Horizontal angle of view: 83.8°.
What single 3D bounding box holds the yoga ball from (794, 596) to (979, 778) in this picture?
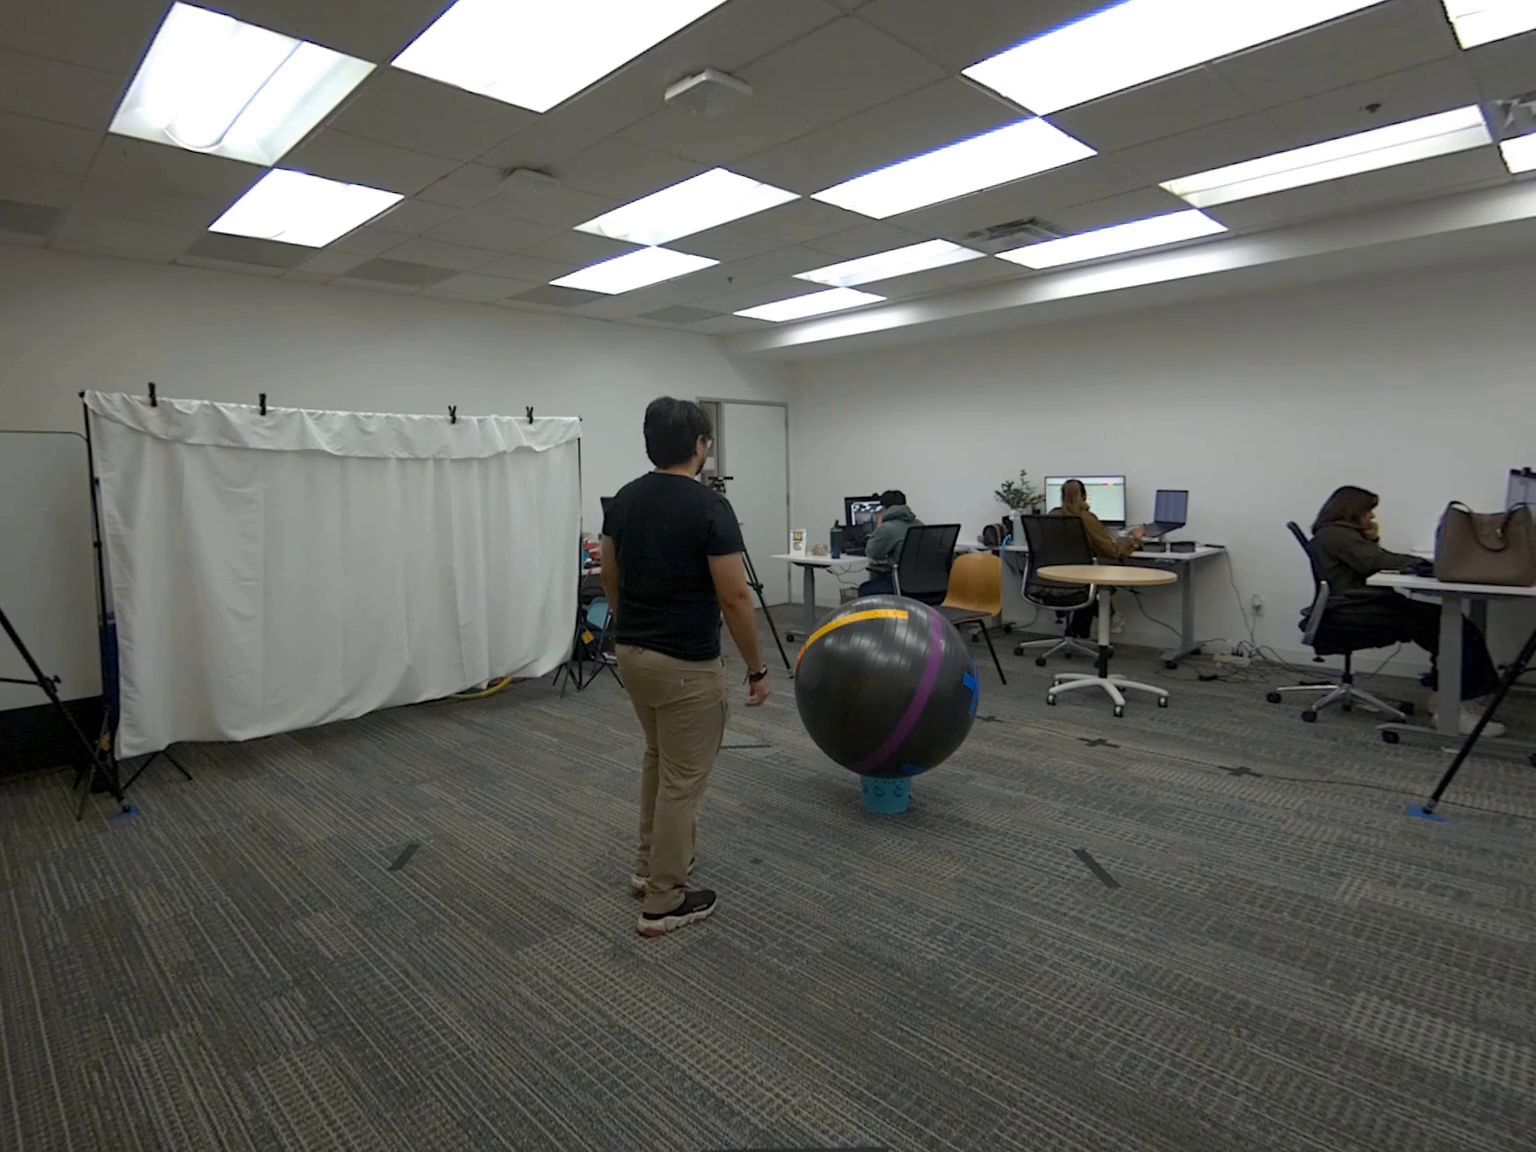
[{"bbox_3d":[0.488,0.460,3.582,0.757,0.755,0.762,-1,5,-2],"label":"yoga ball"}]
